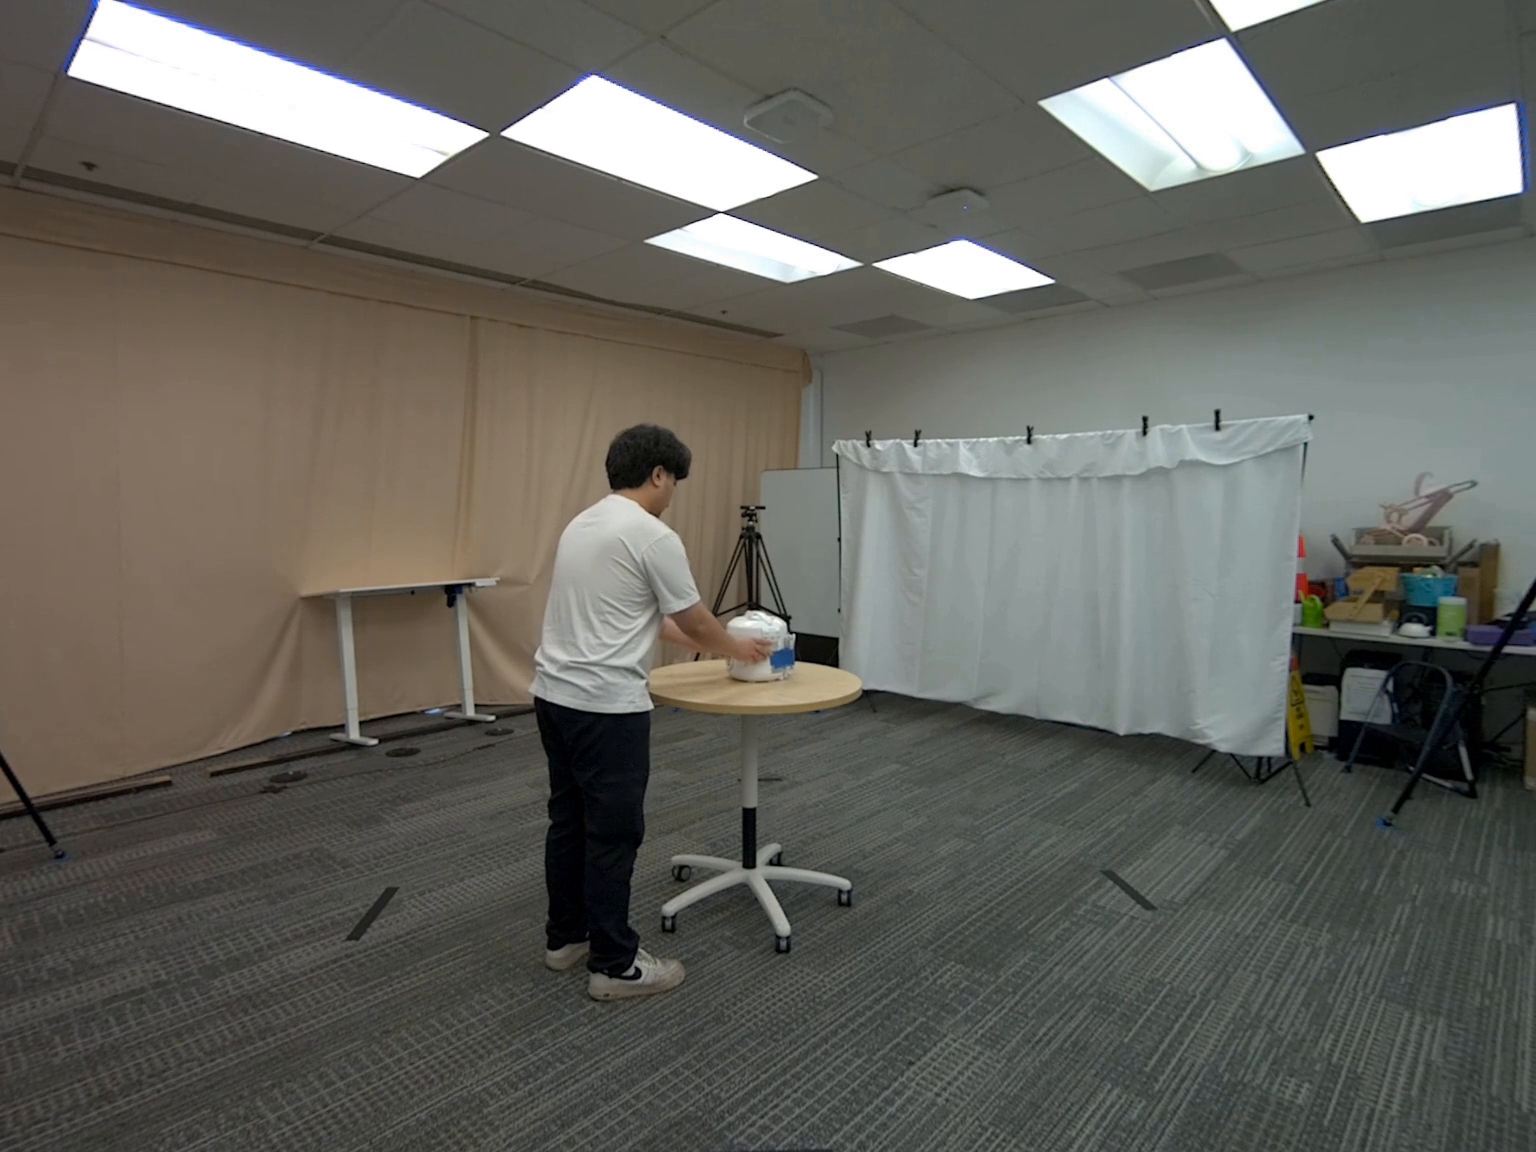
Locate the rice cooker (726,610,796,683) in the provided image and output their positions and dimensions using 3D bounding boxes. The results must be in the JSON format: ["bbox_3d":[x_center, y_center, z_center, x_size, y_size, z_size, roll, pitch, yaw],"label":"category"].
[{"bbox_3d":[-0.033,0.237,2.913,0.212,0.232,0.226,-1,3,-26],"label":"rice cooker"}]
